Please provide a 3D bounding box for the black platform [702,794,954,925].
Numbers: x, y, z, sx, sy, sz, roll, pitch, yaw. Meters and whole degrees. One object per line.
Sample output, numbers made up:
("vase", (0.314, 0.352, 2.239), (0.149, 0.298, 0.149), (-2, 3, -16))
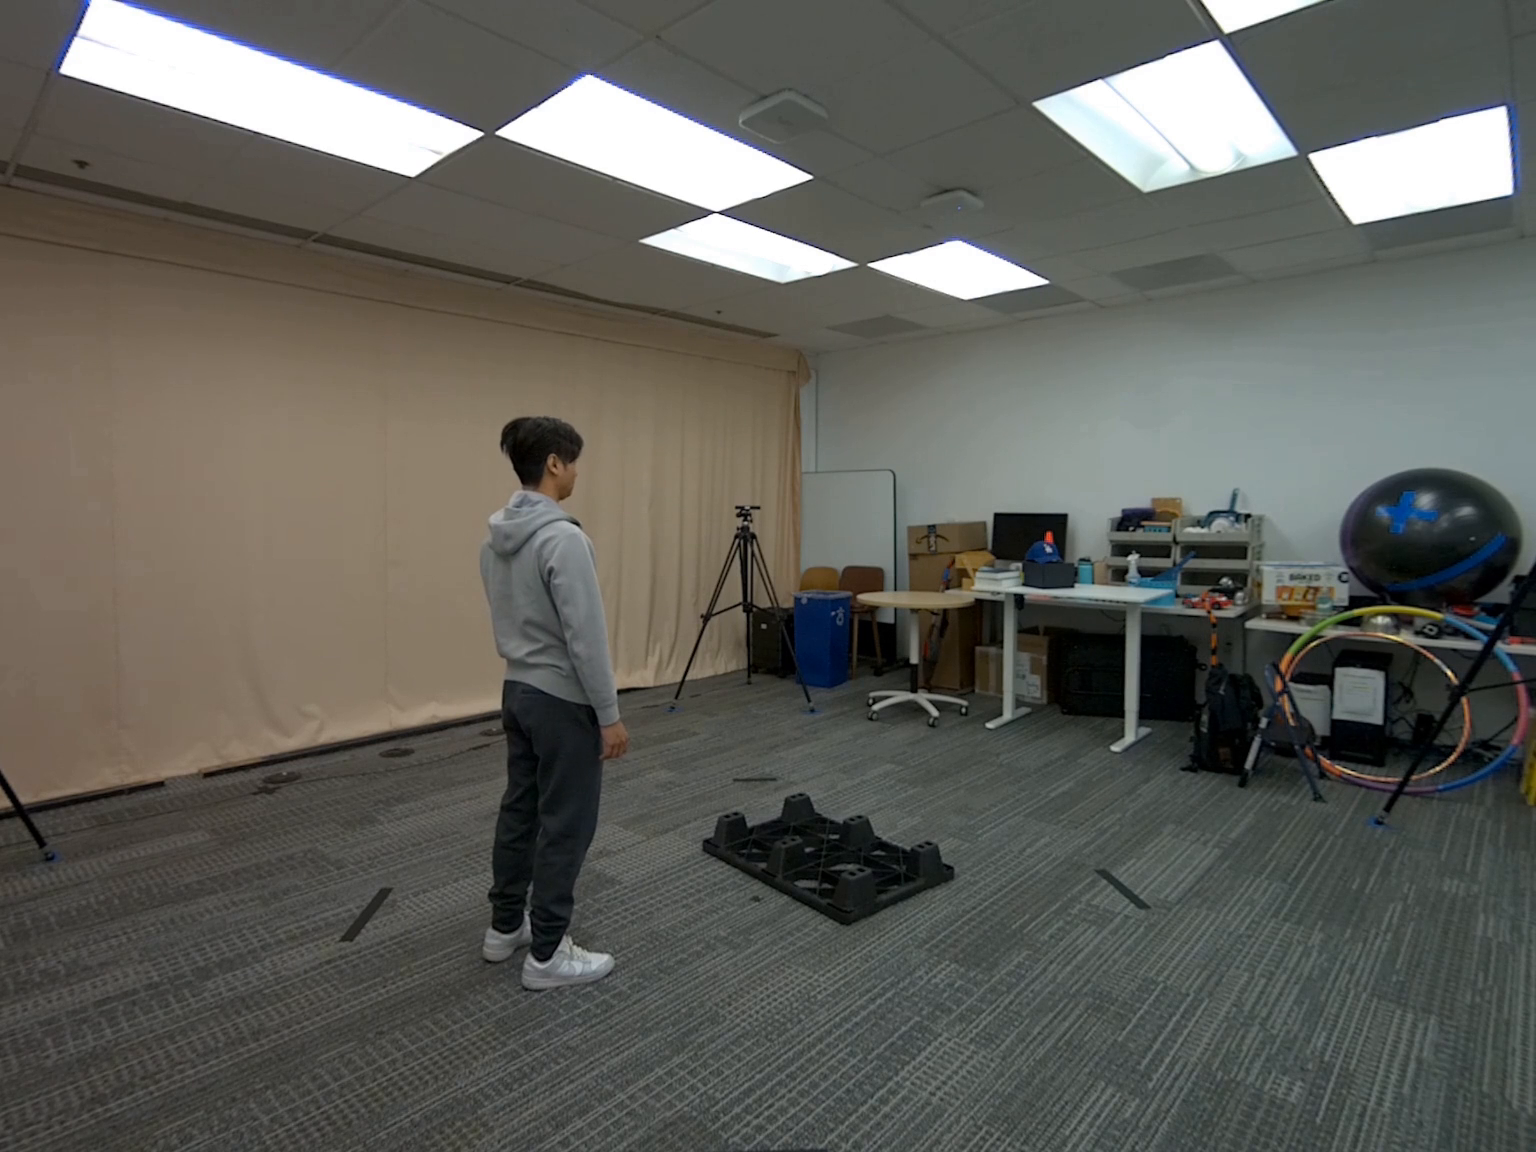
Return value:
("black platform", (0.226, 1.053, 3.273), (0.587, 0.143, 0.832), (-4, 7, -41))
